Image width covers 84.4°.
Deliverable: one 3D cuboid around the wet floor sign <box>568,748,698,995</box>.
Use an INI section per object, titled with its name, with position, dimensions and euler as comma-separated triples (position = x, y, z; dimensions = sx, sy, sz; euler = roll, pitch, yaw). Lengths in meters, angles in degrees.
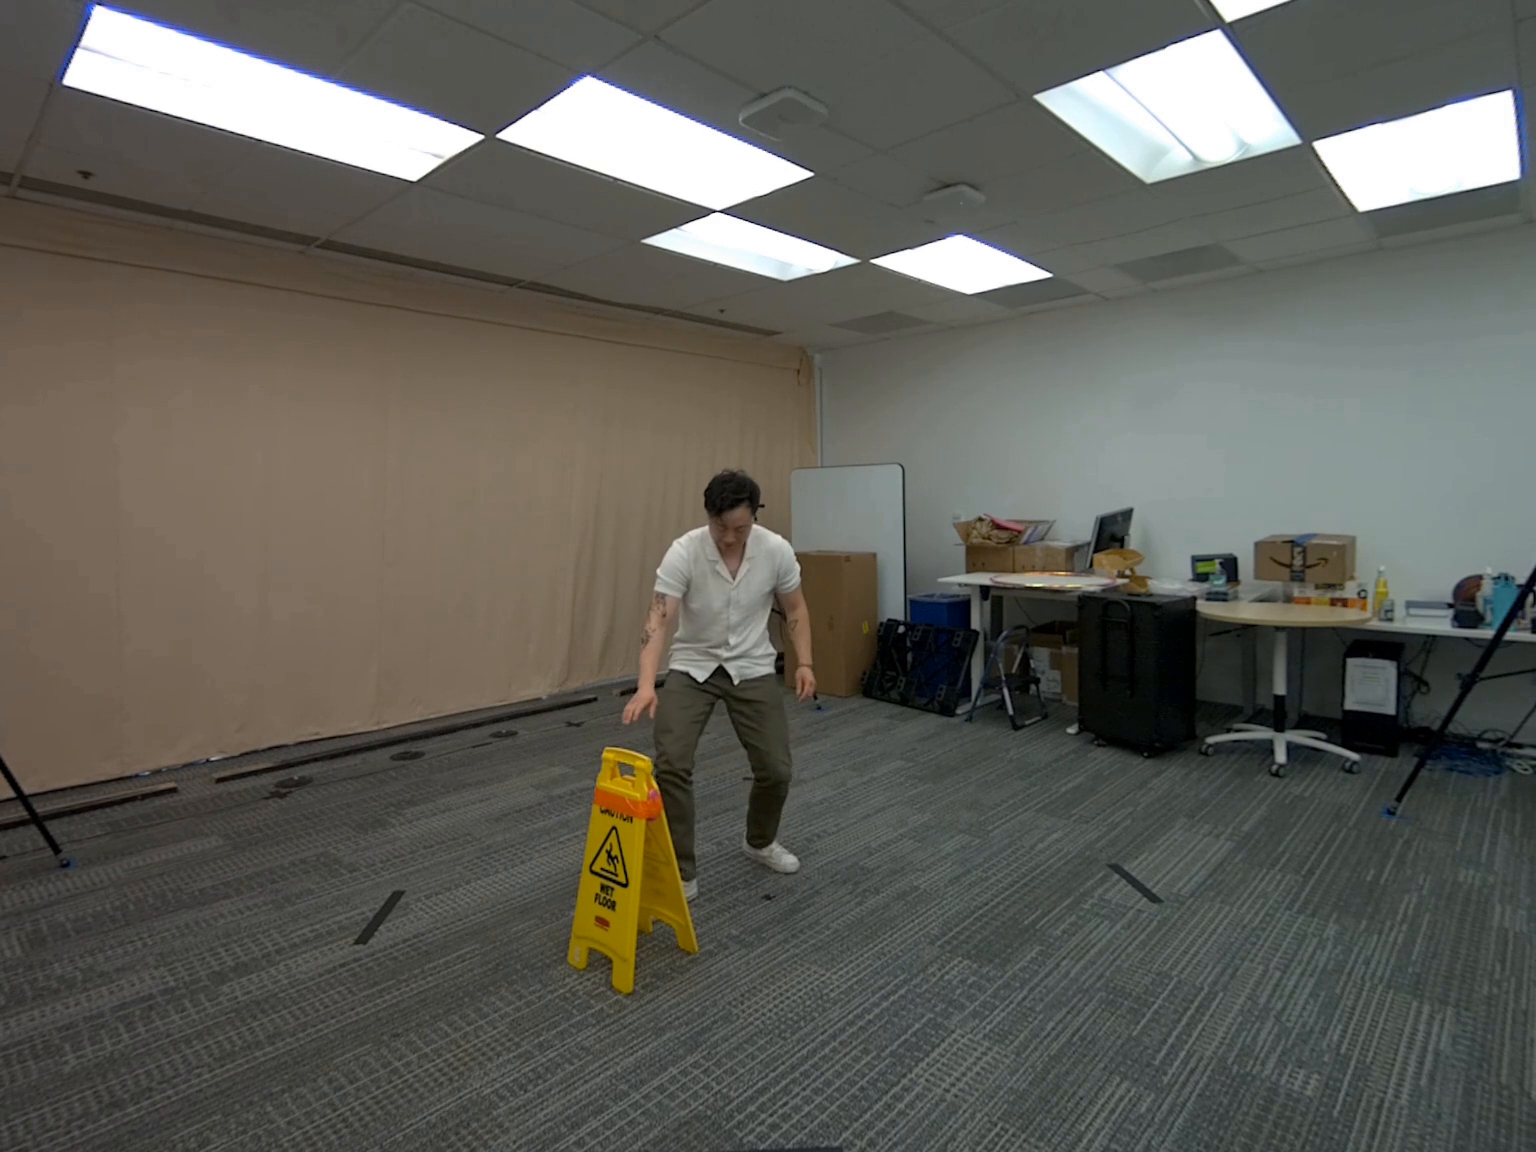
[wet floor sign]
position = -0.425, 0.864, 2.577
dimensions = 0.291, 0.644, 0.281
euler = 1, 6, 40
